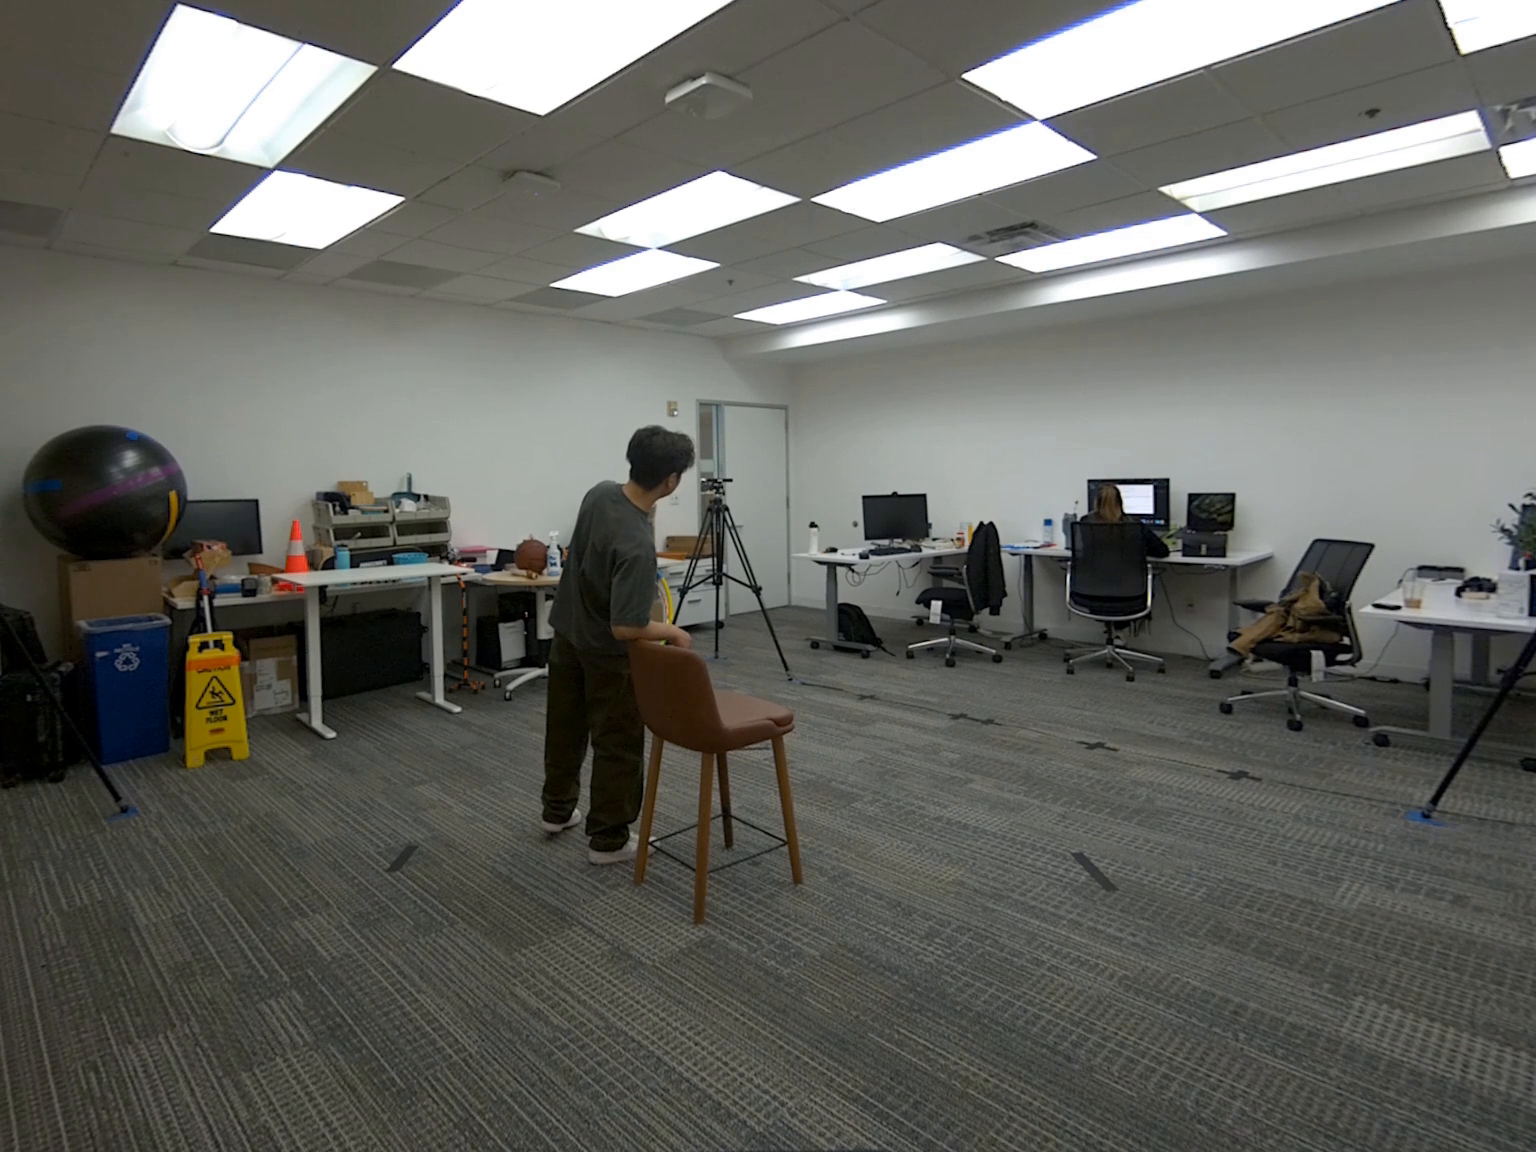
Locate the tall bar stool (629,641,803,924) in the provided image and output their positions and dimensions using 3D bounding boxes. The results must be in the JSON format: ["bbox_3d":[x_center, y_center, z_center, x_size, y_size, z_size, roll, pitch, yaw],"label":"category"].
[{"bbox_3d":[-0.186,0.629,2.932,0.456,0.885,0.470,-7,7,-39],"label":"tall bar stool"}]
